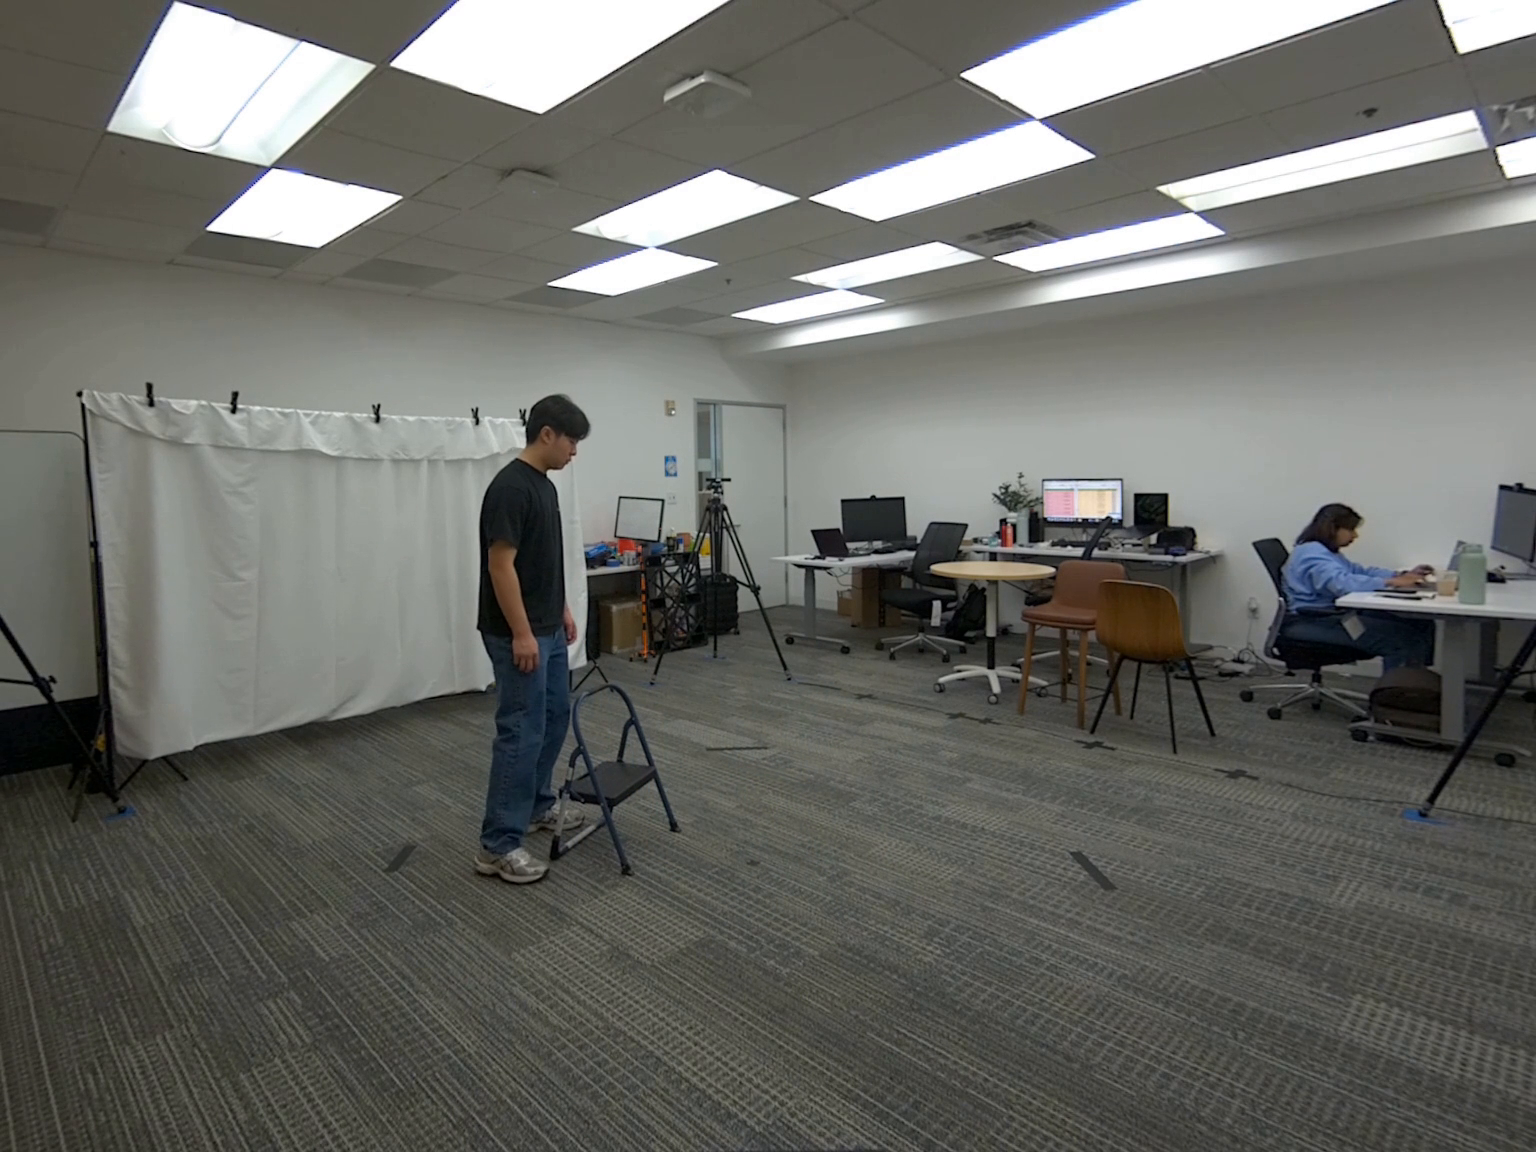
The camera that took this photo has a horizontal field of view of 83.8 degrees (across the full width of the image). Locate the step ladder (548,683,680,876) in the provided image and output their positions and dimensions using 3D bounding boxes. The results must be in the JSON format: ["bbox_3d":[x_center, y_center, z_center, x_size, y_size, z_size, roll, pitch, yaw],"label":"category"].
[{"bbox_3d":[-0.584,0.731,3.260,0.356,0.604,0.423,1,4,21],"label":"step ladder"}]
